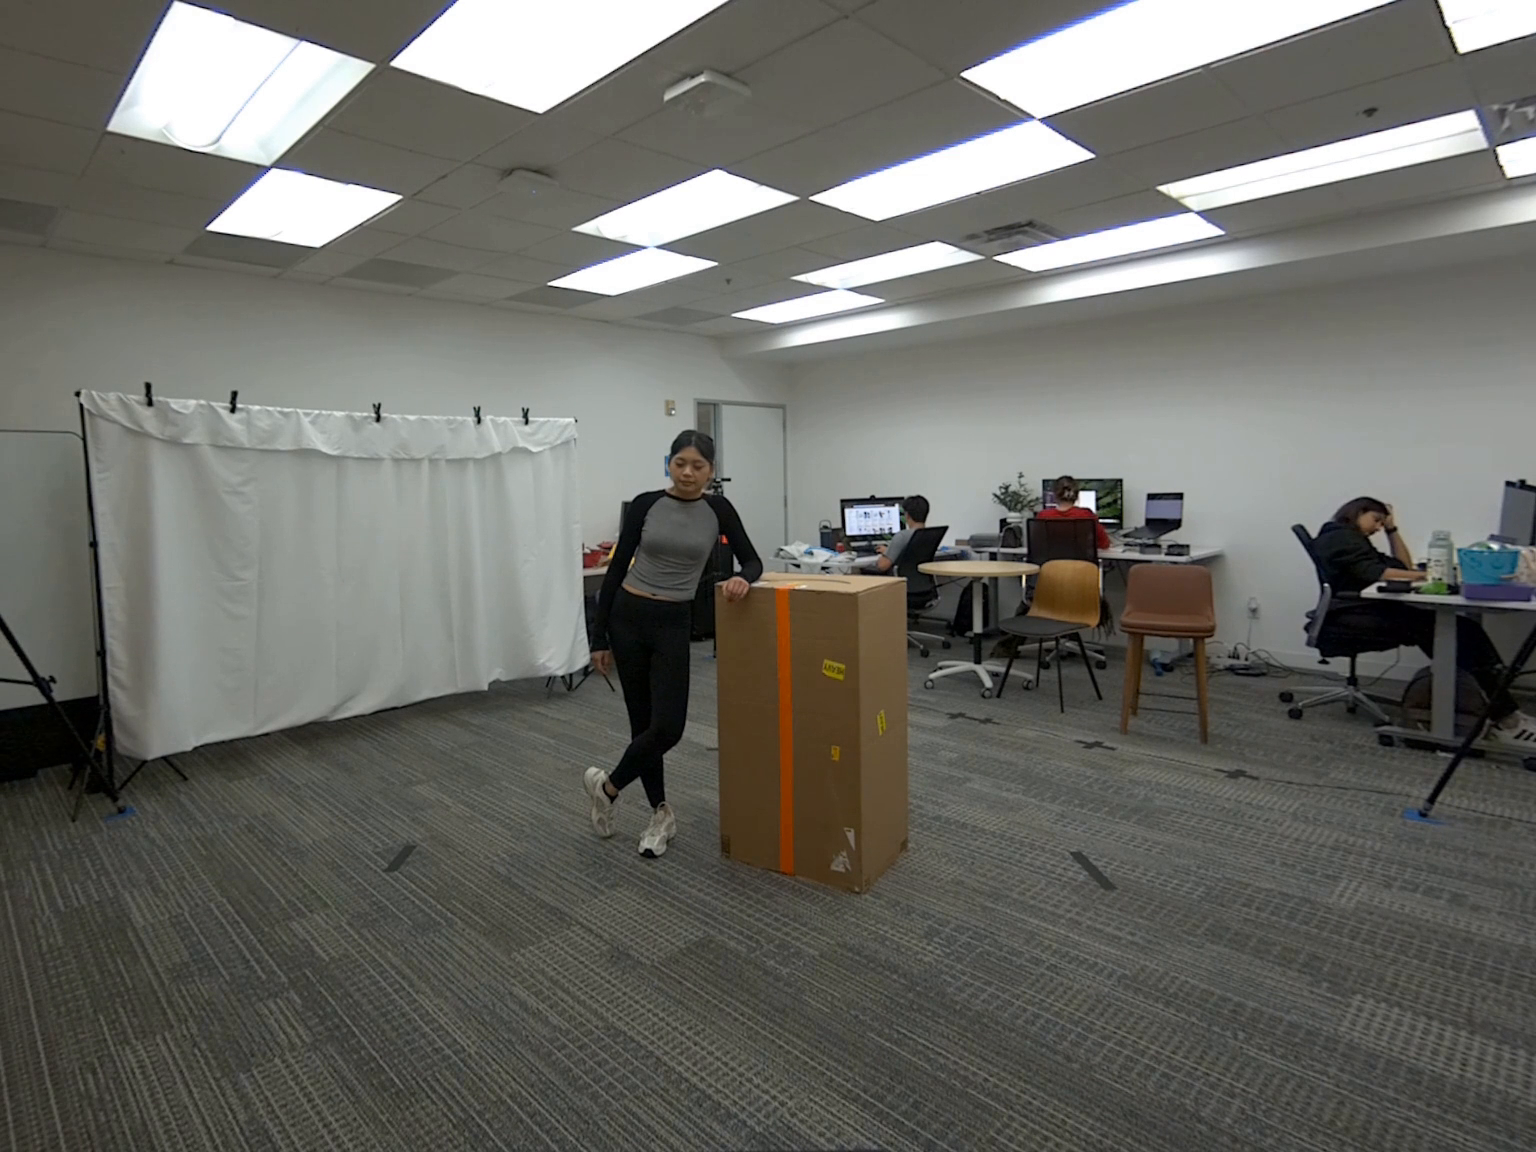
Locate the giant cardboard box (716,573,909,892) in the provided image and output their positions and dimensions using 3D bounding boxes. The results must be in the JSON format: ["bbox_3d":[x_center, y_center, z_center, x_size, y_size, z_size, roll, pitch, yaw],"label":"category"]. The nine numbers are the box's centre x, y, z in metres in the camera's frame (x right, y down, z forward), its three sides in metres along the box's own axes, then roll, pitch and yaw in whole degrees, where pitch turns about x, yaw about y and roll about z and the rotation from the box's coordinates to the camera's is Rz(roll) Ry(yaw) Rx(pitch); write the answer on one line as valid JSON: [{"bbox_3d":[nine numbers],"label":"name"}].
[{"bbox_3d":[0.169,0.524,3.150,0.593,1.022,0.416,1,4,33],"label":"giant cardboard box"}]
